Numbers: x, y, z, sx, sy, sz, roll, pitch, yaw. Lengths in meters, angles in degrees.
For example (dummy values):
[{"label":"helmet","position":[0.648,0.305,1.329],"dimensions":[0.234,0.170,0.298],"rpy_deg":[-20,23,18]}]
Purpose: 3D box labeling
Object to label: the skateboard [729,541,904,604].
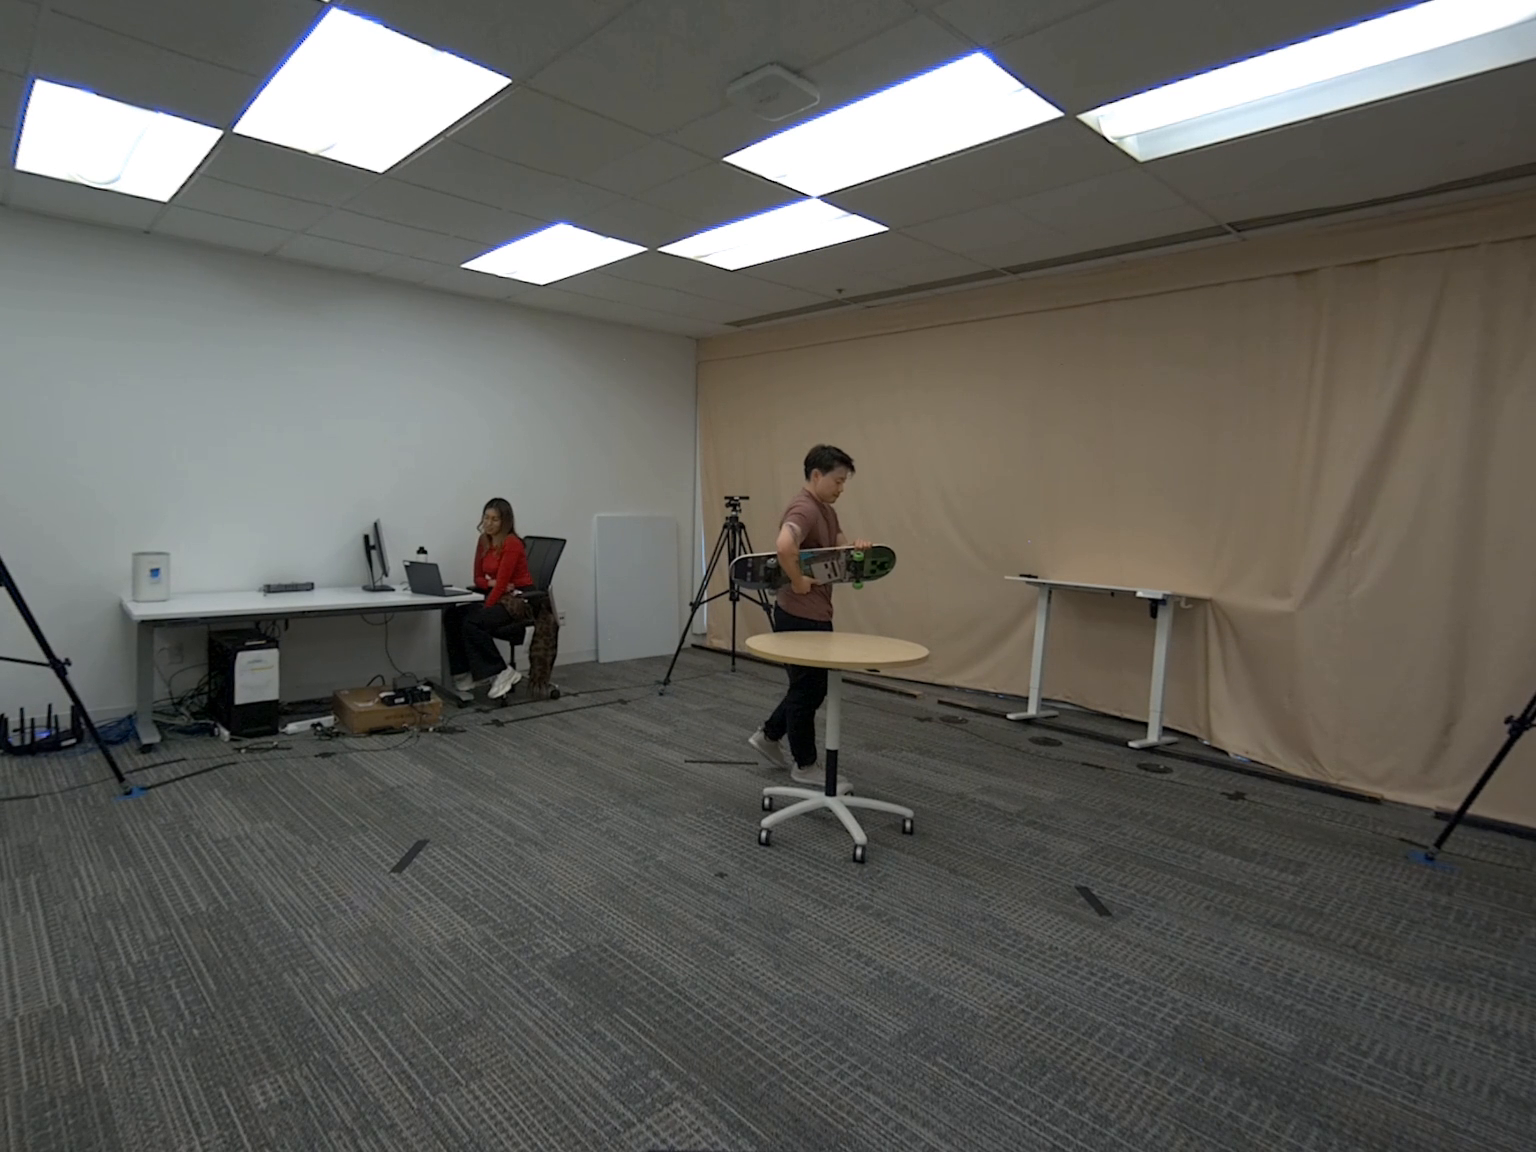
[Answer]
[{"label":"skateboard","position":[0.220,-0.019,3.932],"dimensions":[0.785,0.190,0.112],"rpy_deg":[-5,27,-1]}]
